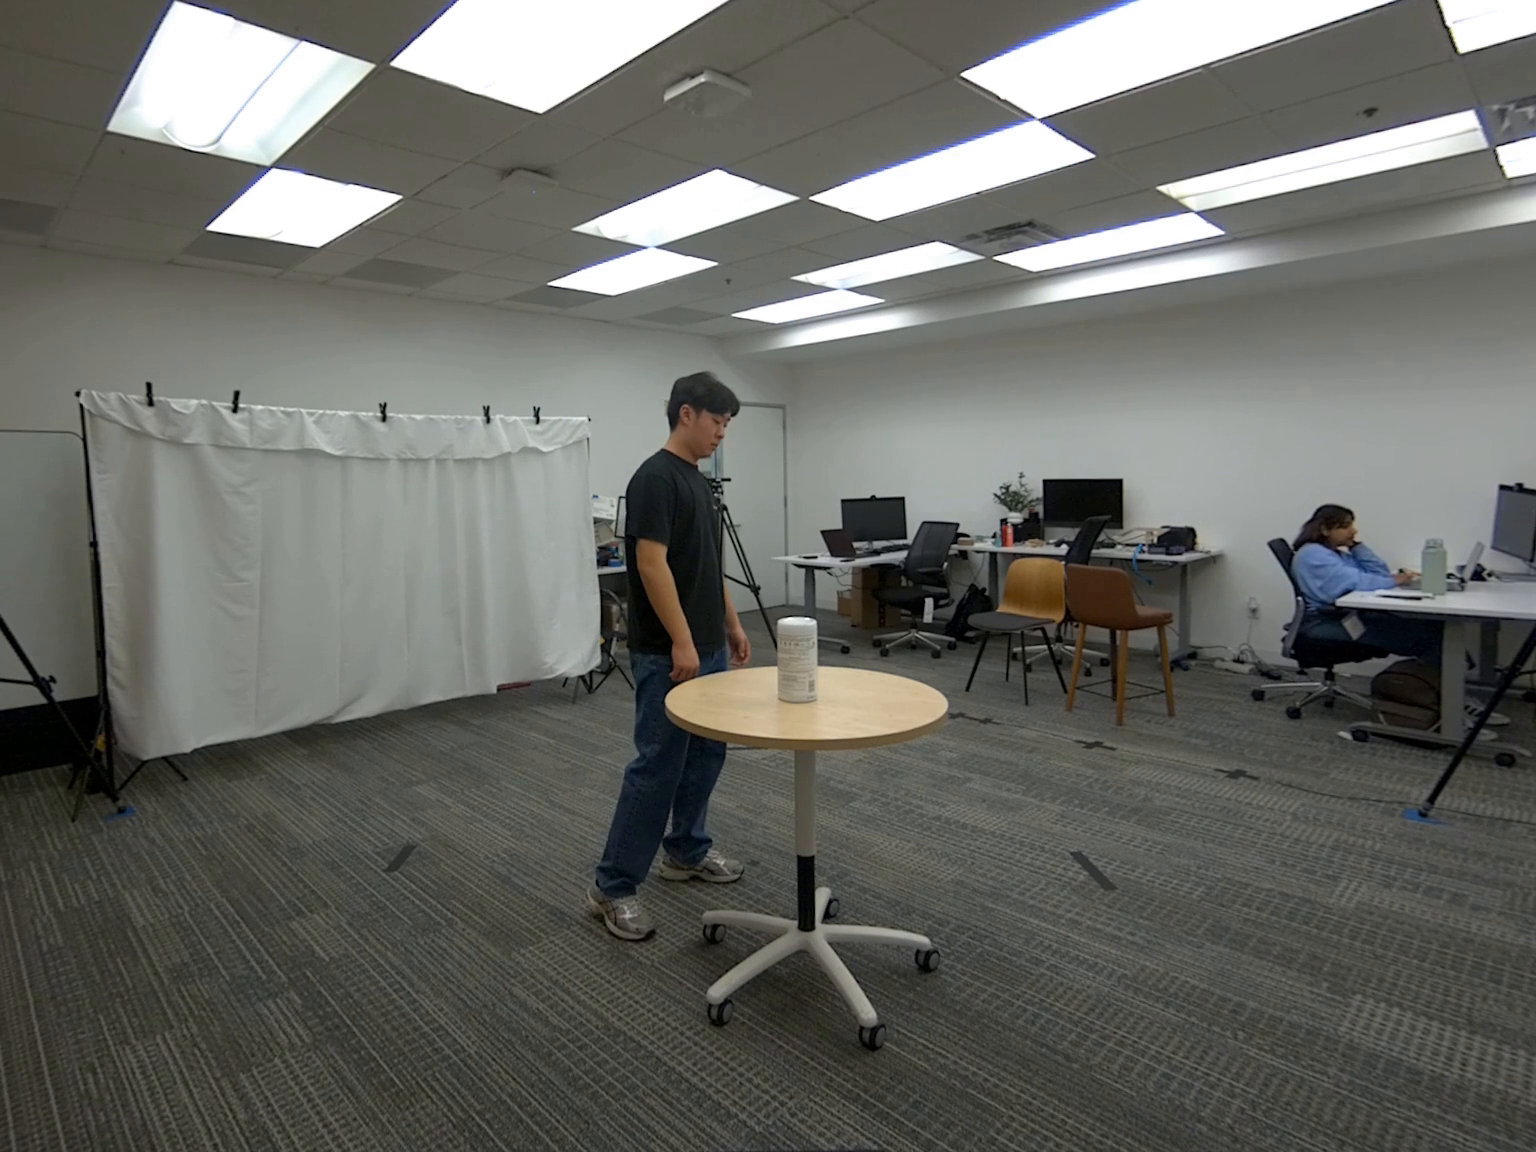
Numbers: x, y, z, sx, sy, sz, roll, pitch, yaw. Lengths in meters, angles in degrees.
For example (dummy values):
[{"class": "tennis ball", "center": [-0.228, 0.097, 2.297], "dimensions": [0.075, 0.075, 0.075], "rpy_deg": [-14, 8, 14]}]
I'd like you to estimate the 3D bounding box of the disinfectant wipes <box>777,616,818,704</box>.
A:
[{"class": "disinfectant wipes", "center": [0.090, 0.228, 2.318], "dimensions": [0.118, 0.217, 0.118], "rpy_deg": [-1, 3, -2]}]
